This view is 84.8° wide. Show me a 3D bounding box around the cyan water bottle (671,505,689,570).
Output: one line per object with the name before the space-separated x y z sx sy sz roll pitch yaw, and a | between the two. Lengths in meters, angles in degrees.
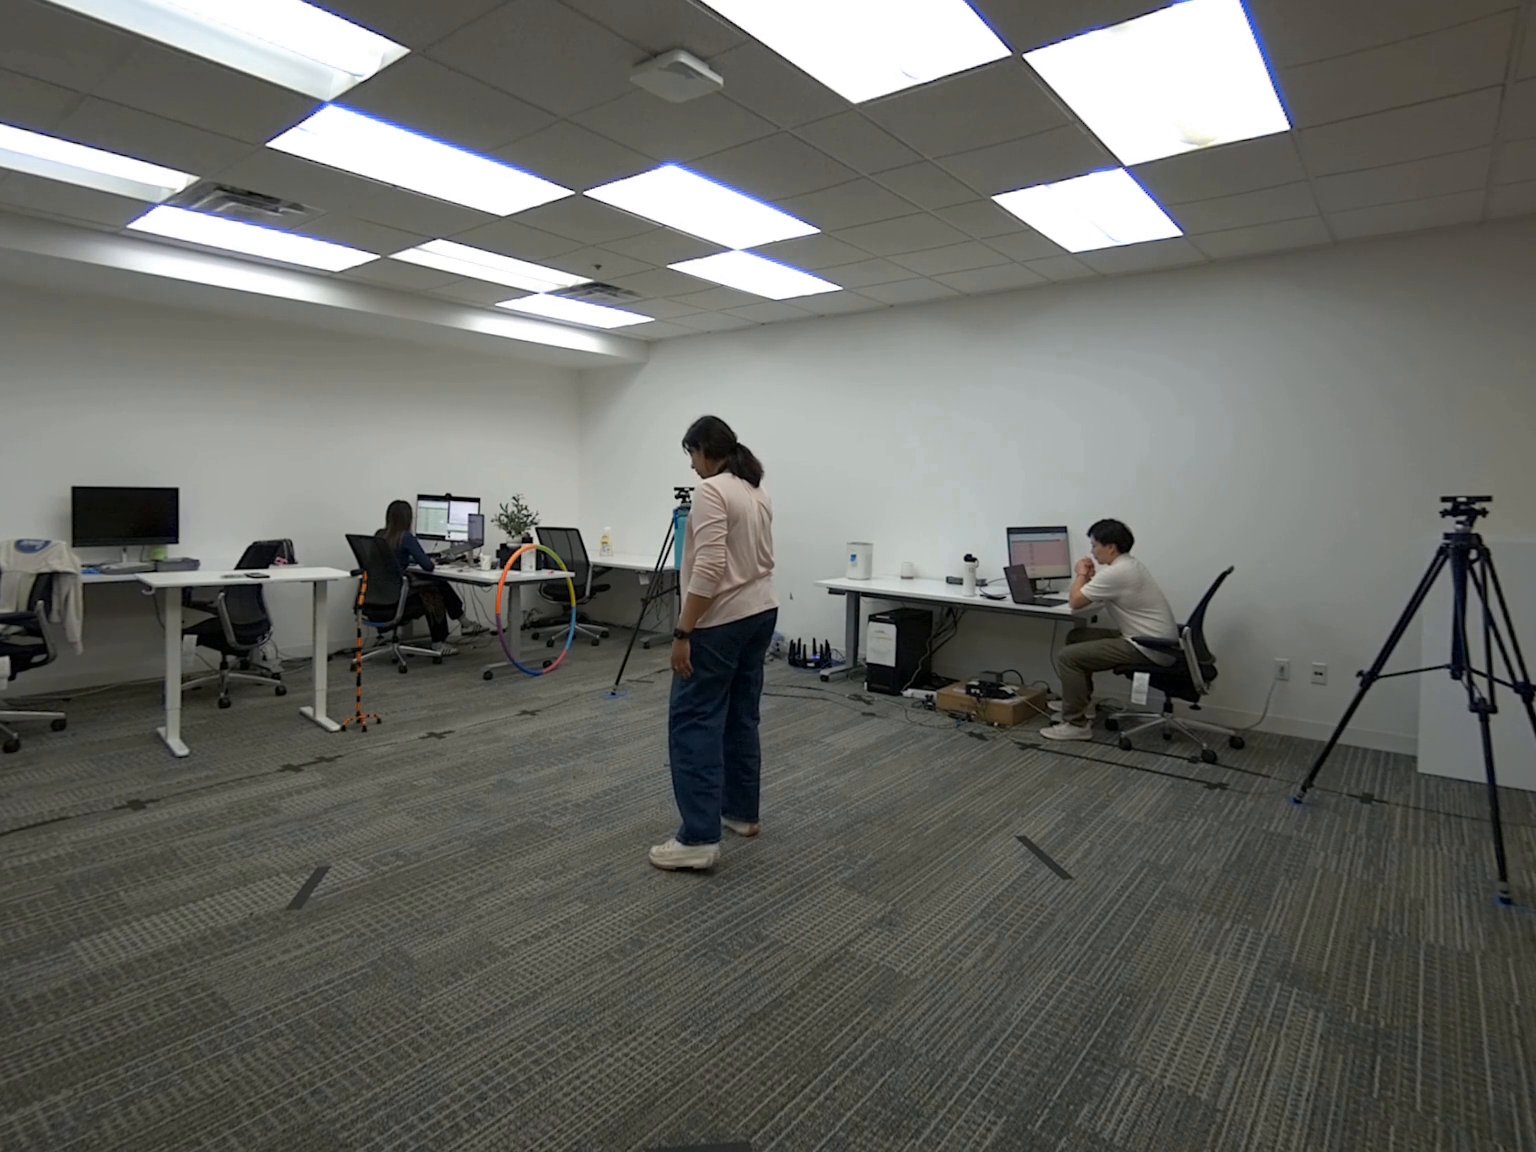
cyan water bottle | -0.377 -0.169 3.638 0.092 0.282 0.093 -3 3 -2
